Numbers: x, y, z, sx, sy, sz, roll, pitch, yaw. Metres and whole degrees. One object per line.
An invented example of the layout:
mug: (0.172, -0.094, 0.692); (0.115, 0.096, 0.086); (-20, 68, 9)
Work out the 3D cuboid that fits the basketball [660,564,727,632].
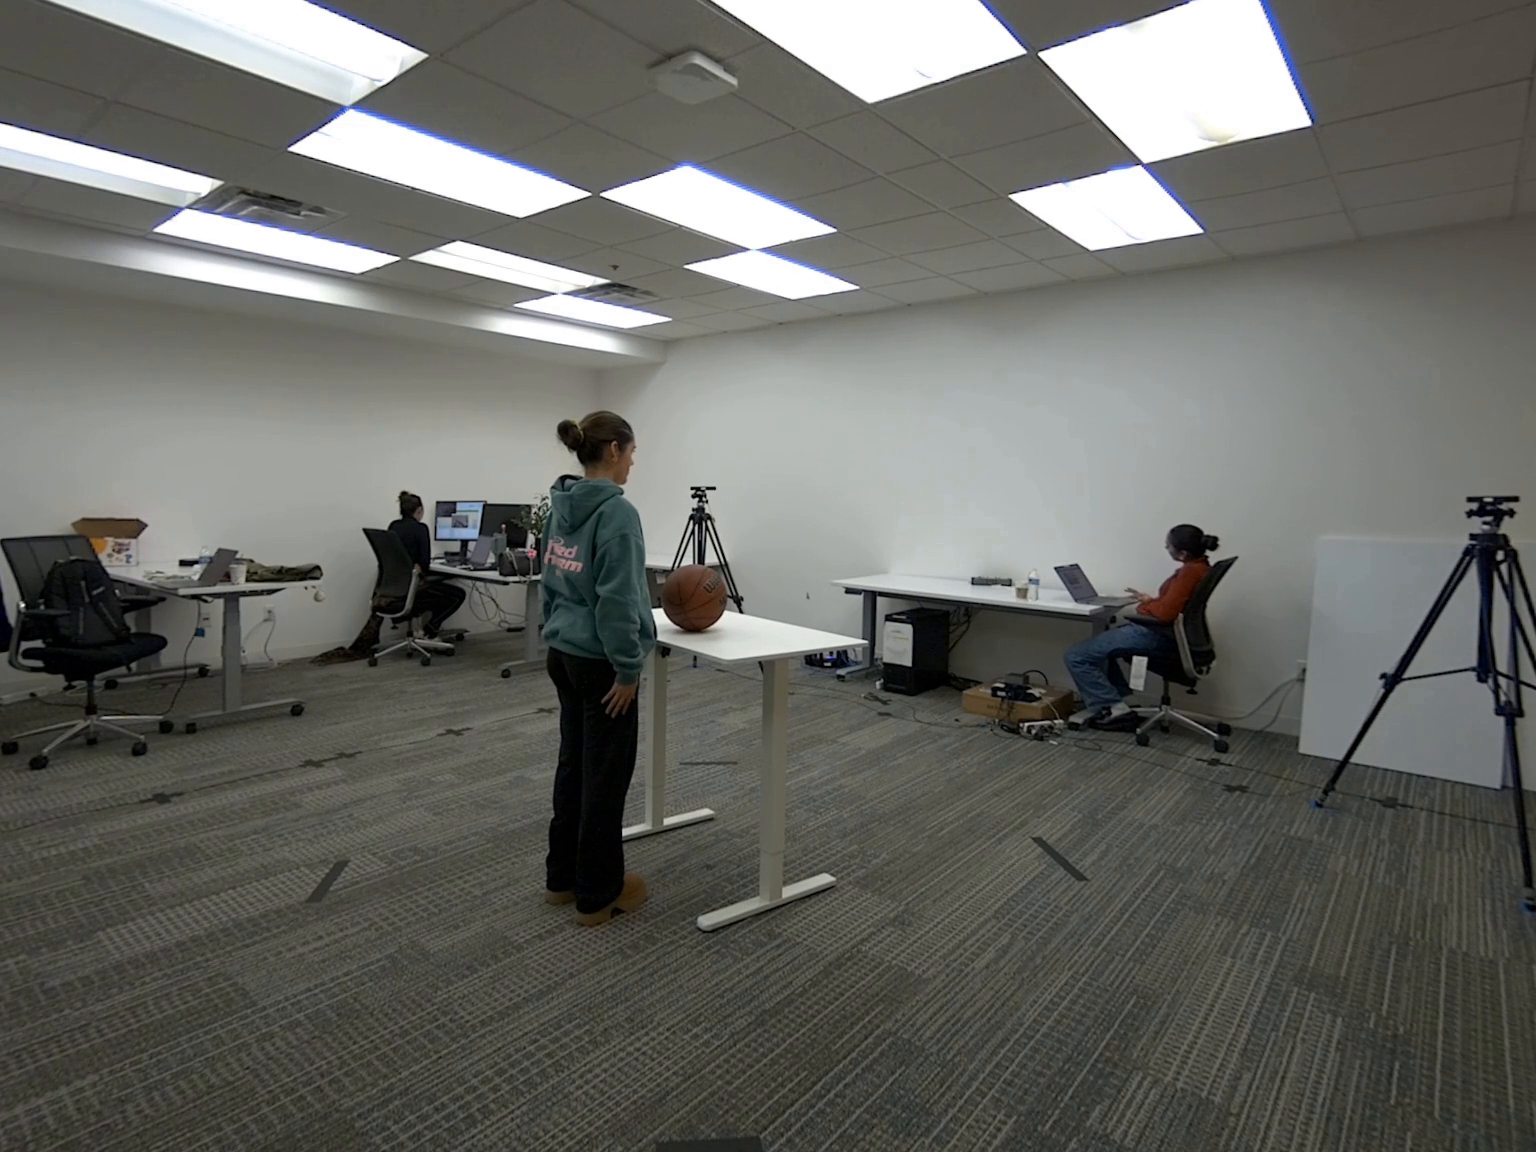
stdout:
basketball: (-0.269, 0.074, 3.018); (0.235, 0.235, 0.237); (1, 4, -2)
